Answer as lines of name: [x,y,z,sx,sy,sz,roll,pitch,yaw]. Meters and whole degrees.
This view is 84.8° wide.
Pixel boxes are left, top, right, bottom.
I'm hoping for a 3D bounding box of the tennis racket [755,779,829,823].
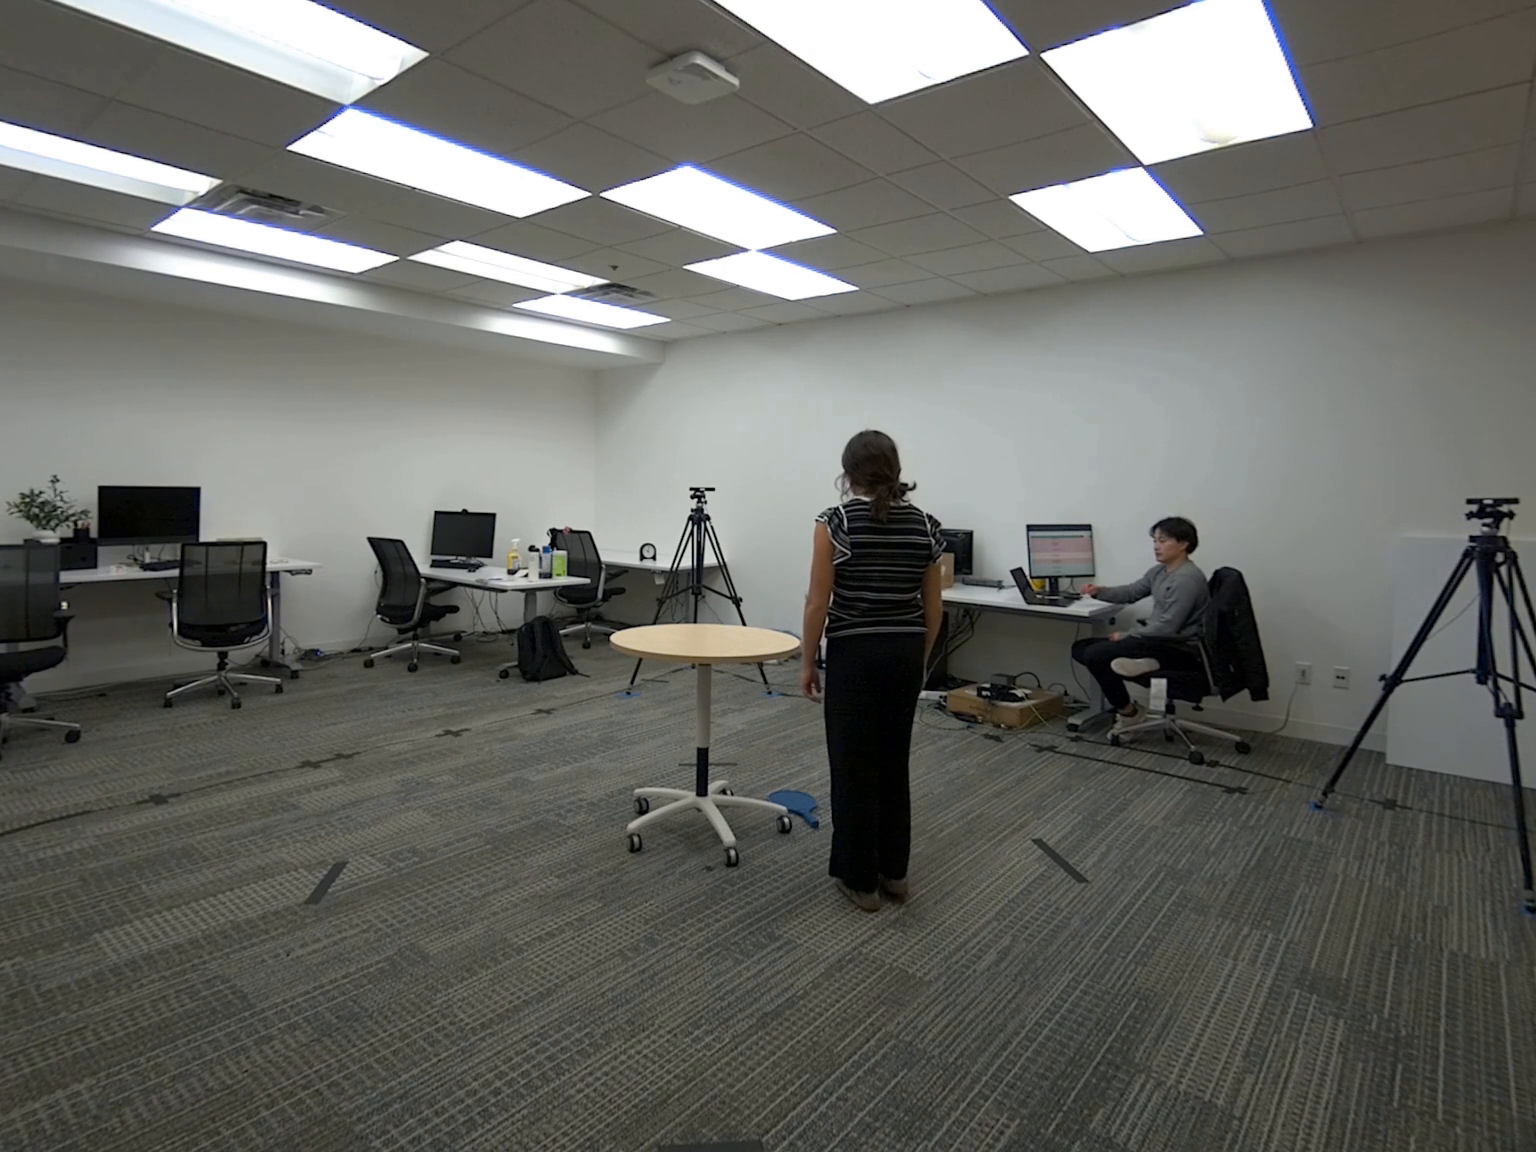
tennis racket: [0.096,0.980,3.690,0.211,0.031,0.440,0,5,-13]
